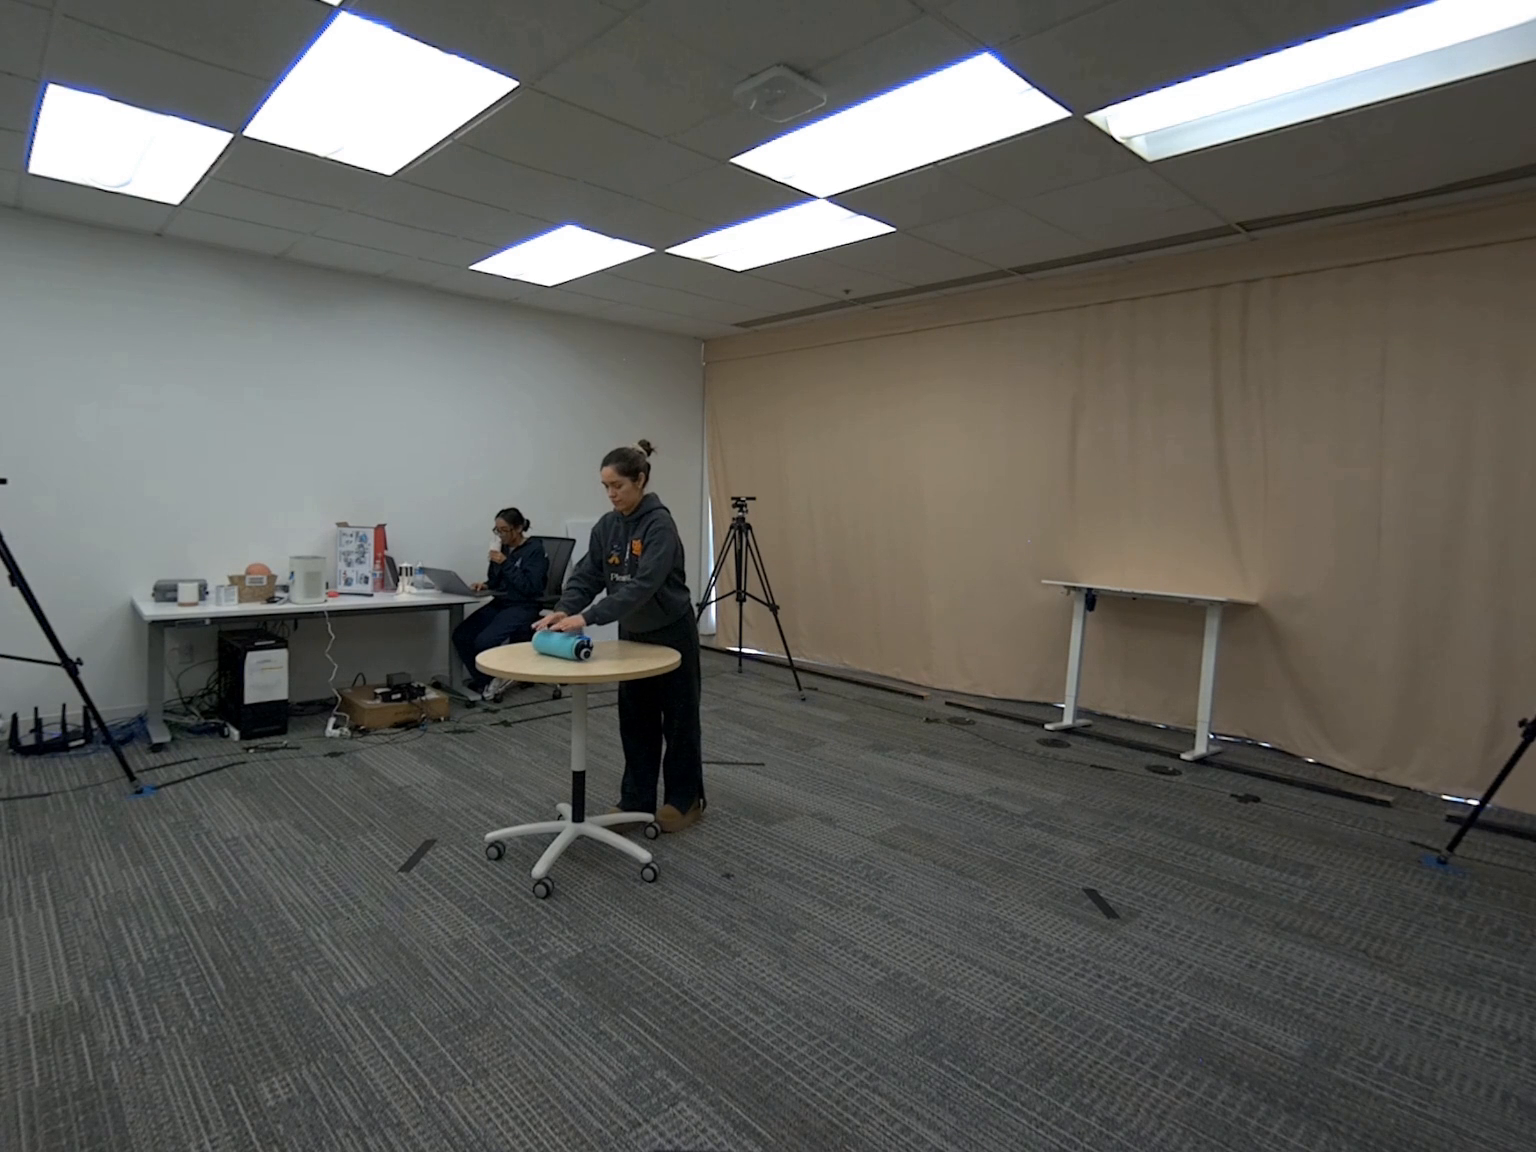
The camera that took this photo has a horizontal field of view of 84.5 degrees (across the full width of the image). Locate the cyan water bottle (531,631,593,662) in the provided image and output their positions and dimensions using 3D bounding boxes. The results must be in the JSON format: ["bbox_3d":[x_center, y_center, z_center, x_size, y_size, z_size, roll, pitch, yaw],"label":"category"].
[{"bbox_3d":[-0.768,0.259,3.148,0.290,0.092,0.090,4,5,38],"label":"cyan water bottle"}]
